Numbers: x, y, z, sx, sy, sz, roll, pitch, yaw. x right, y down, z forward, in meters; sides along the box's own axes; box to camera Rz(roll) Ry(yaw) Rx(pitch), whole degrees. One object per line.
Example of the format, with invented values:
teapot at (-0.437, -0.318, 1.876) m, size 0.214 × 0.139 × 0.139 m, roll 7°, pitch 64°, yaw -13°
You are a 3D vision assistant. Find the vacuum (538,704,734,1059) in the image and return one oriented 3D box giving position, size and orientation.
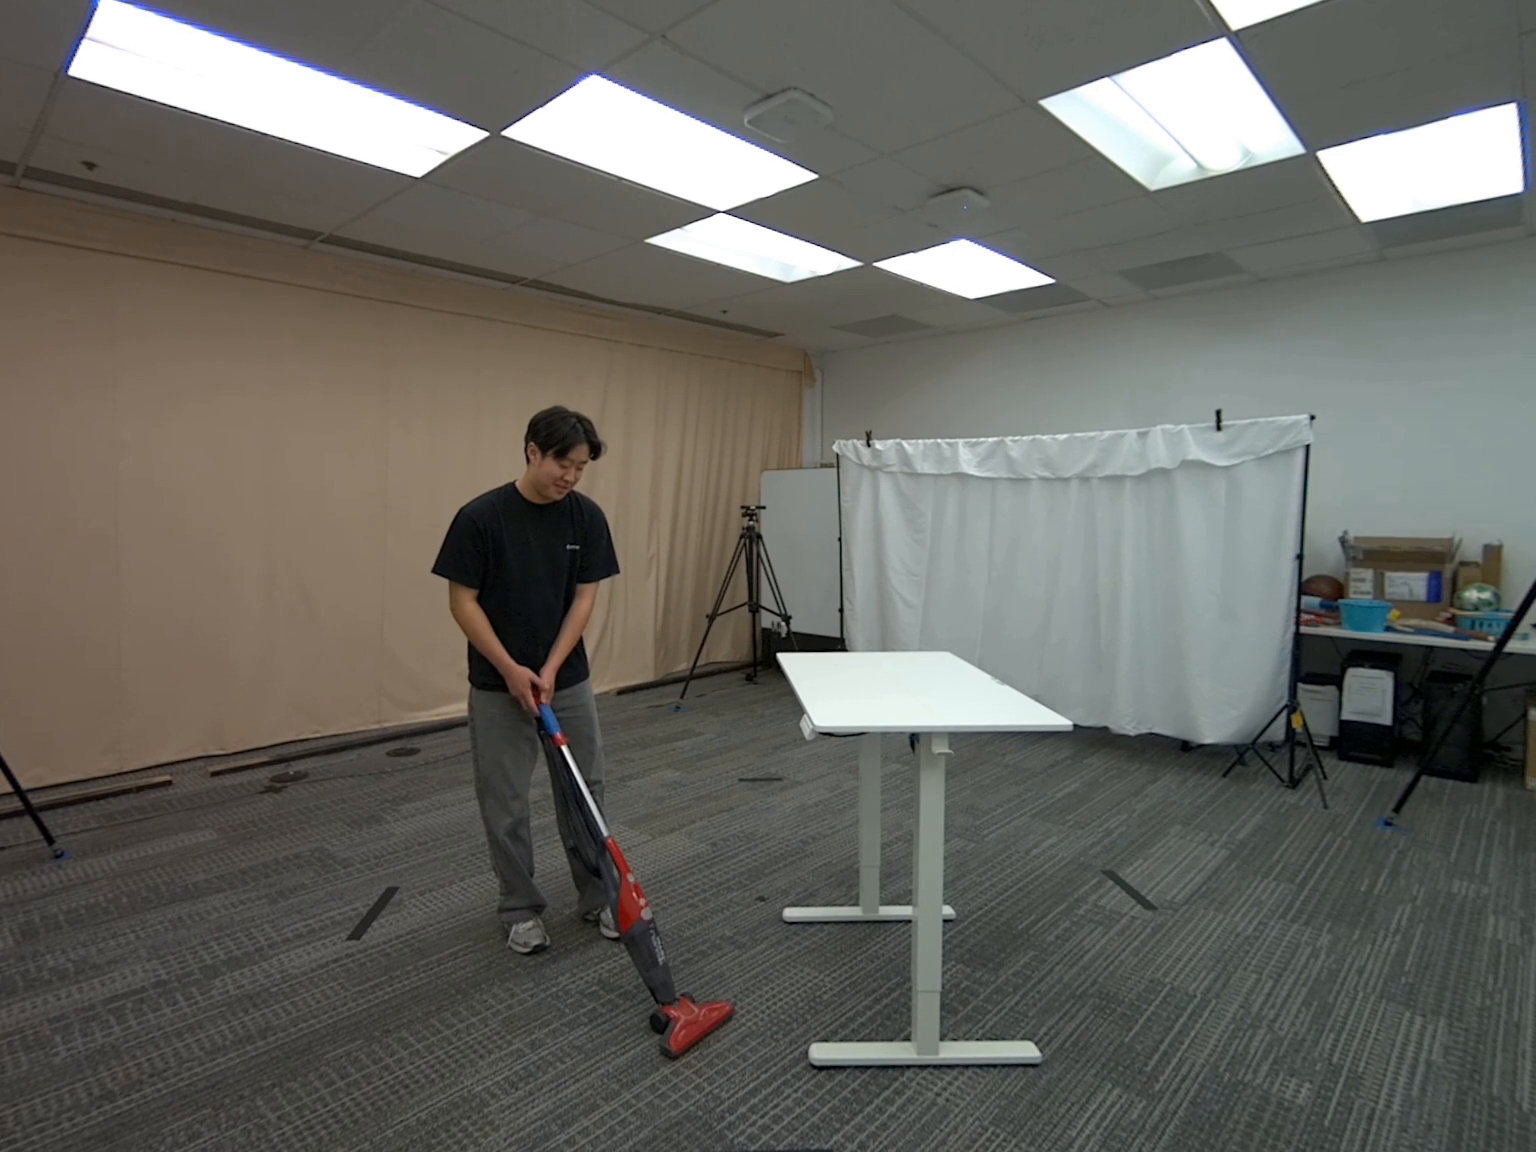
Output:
vacuum at (-0.471, 0.782, 2.418) m, size 0.145 × 1.072 × 0.245 m, roll -45°, pitch -23°, yaw 29°
